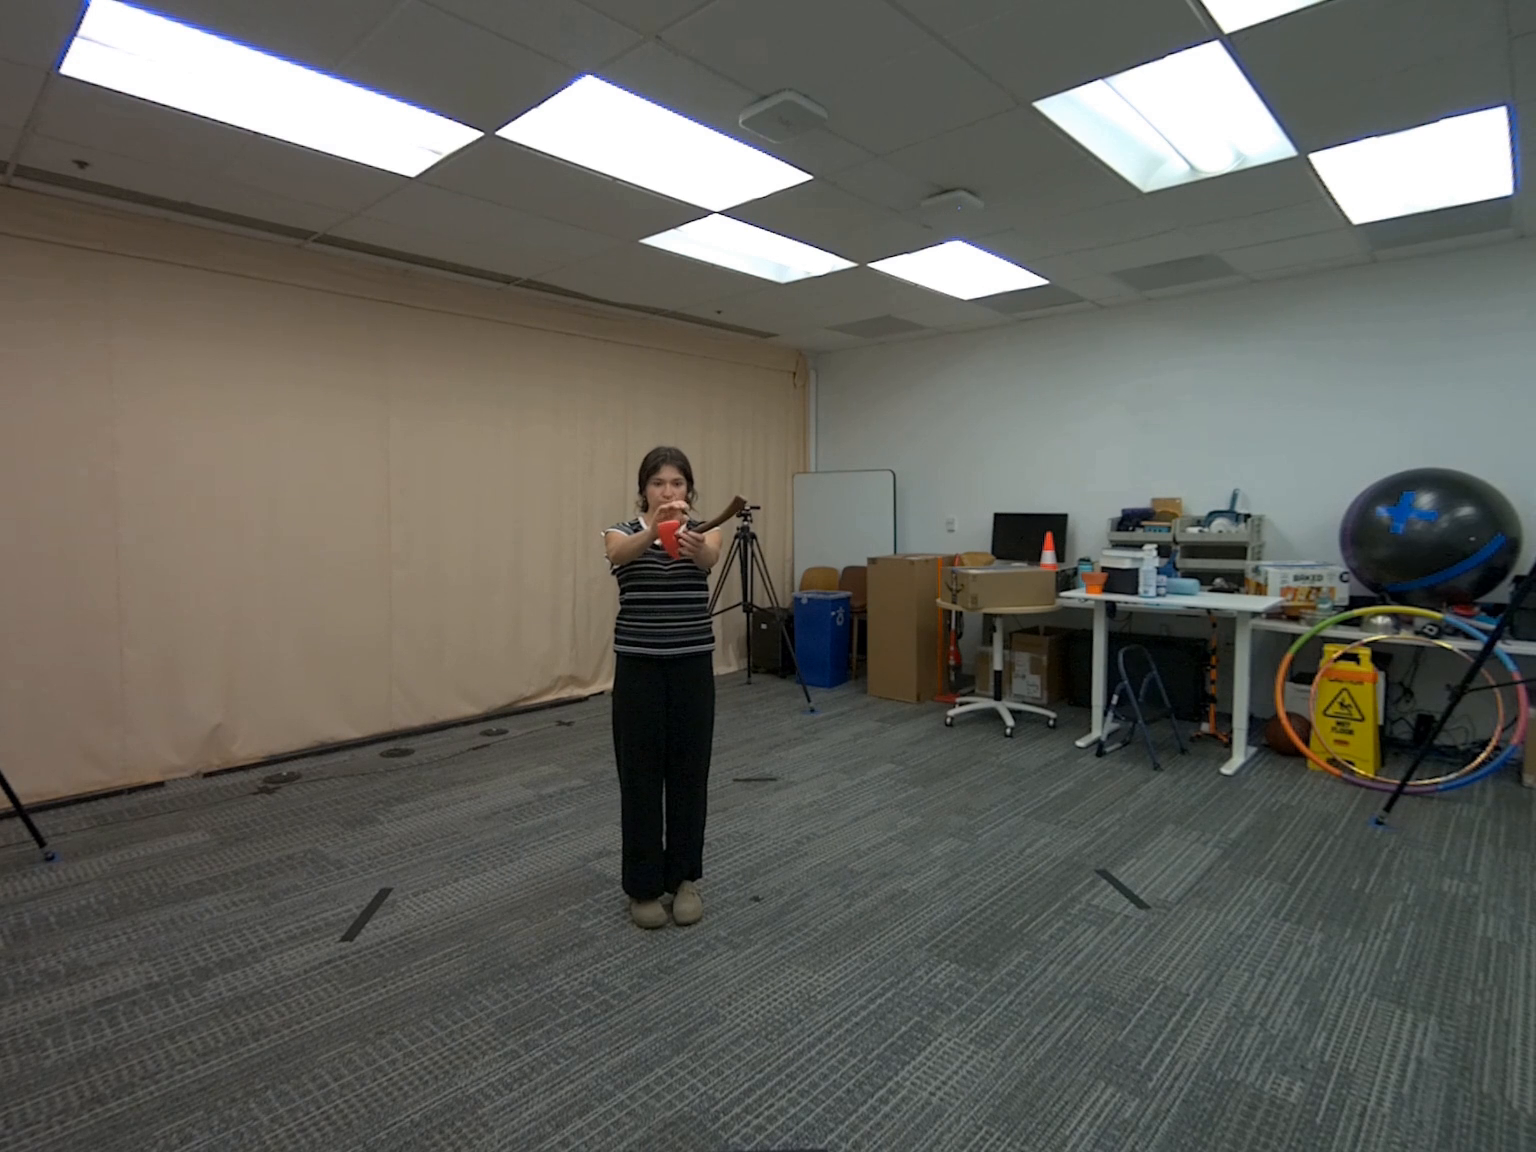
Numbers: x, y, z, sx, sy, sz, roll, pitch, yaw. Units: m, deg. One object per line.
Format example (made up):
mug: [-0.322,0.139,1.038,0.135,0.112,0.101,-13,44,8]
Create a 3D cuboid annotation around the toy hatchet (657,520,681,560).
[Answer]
toy hatchet: [-0.199,-0.153,2.299,0.127,0.272,0.030,40,20,-31]
